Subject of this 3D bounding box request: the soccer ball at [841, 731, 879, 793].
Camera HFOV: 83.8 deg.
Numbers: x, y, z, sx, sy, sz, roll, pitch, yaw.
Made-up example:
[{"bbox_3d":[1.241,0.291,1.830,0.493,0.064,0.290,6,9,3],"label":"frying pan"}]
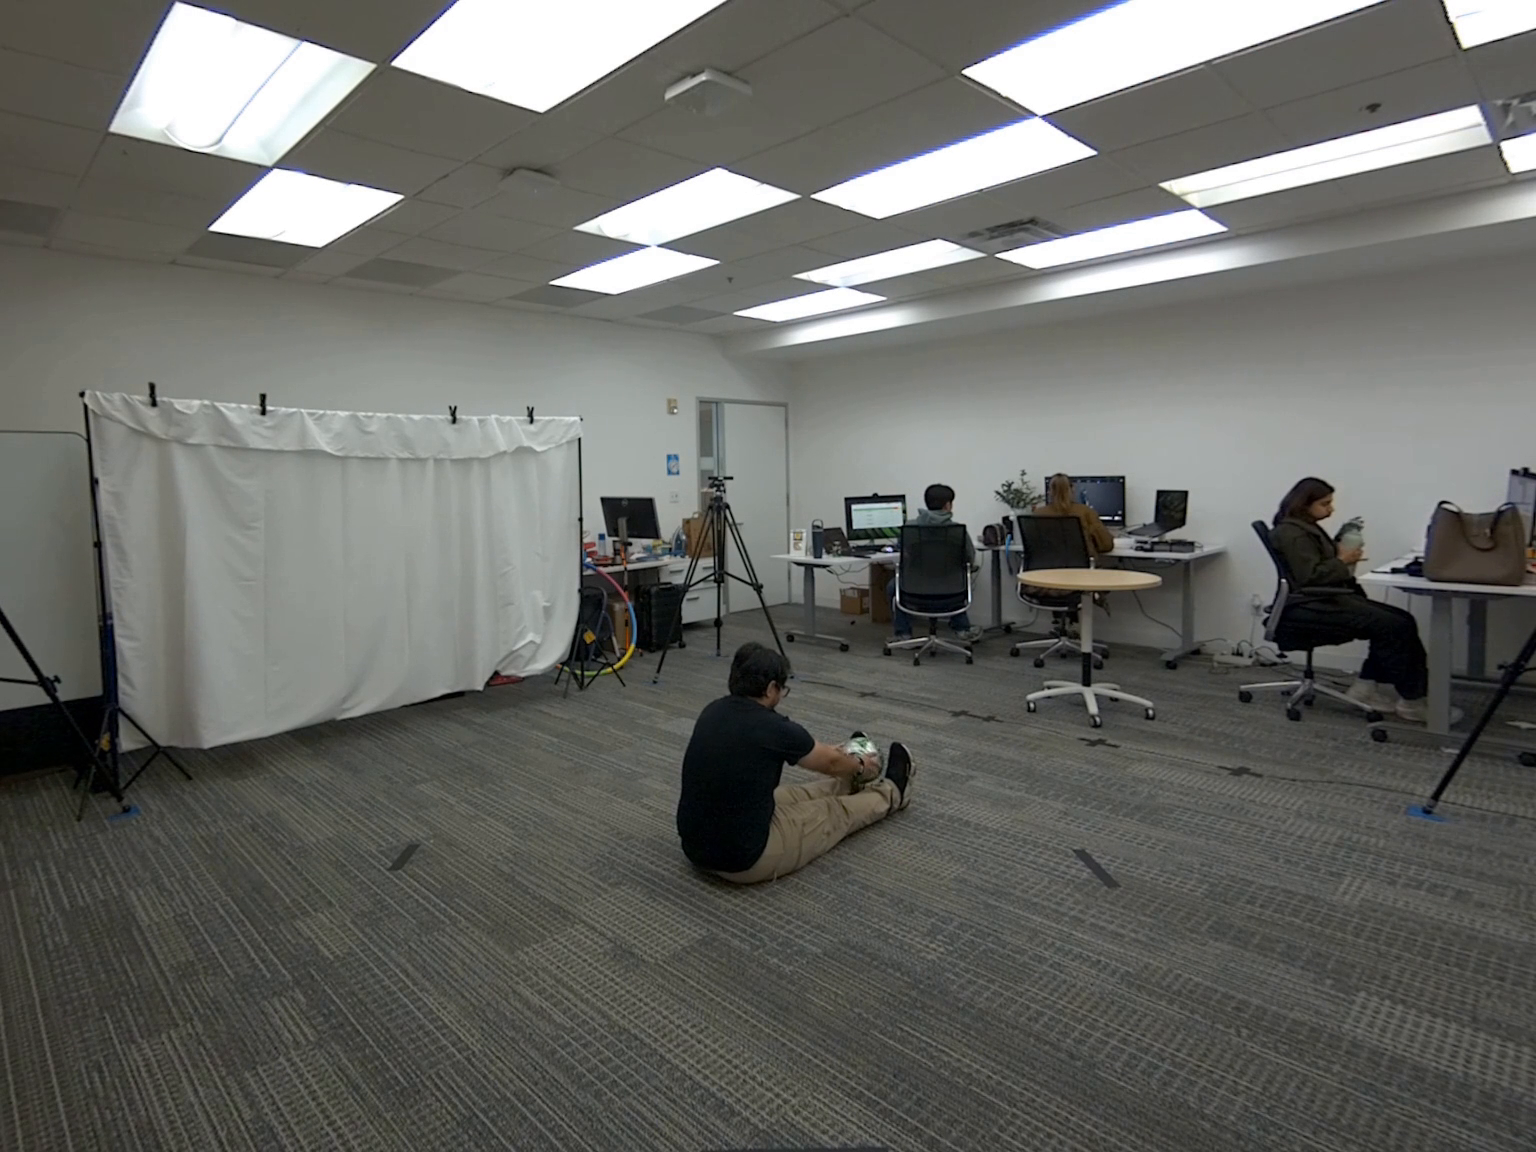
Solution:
[{"bbox_3d":[0.389,0.775,3.533,0.187,0.187,0.188,-1,4,-2],"label":"soccer ball"}]
